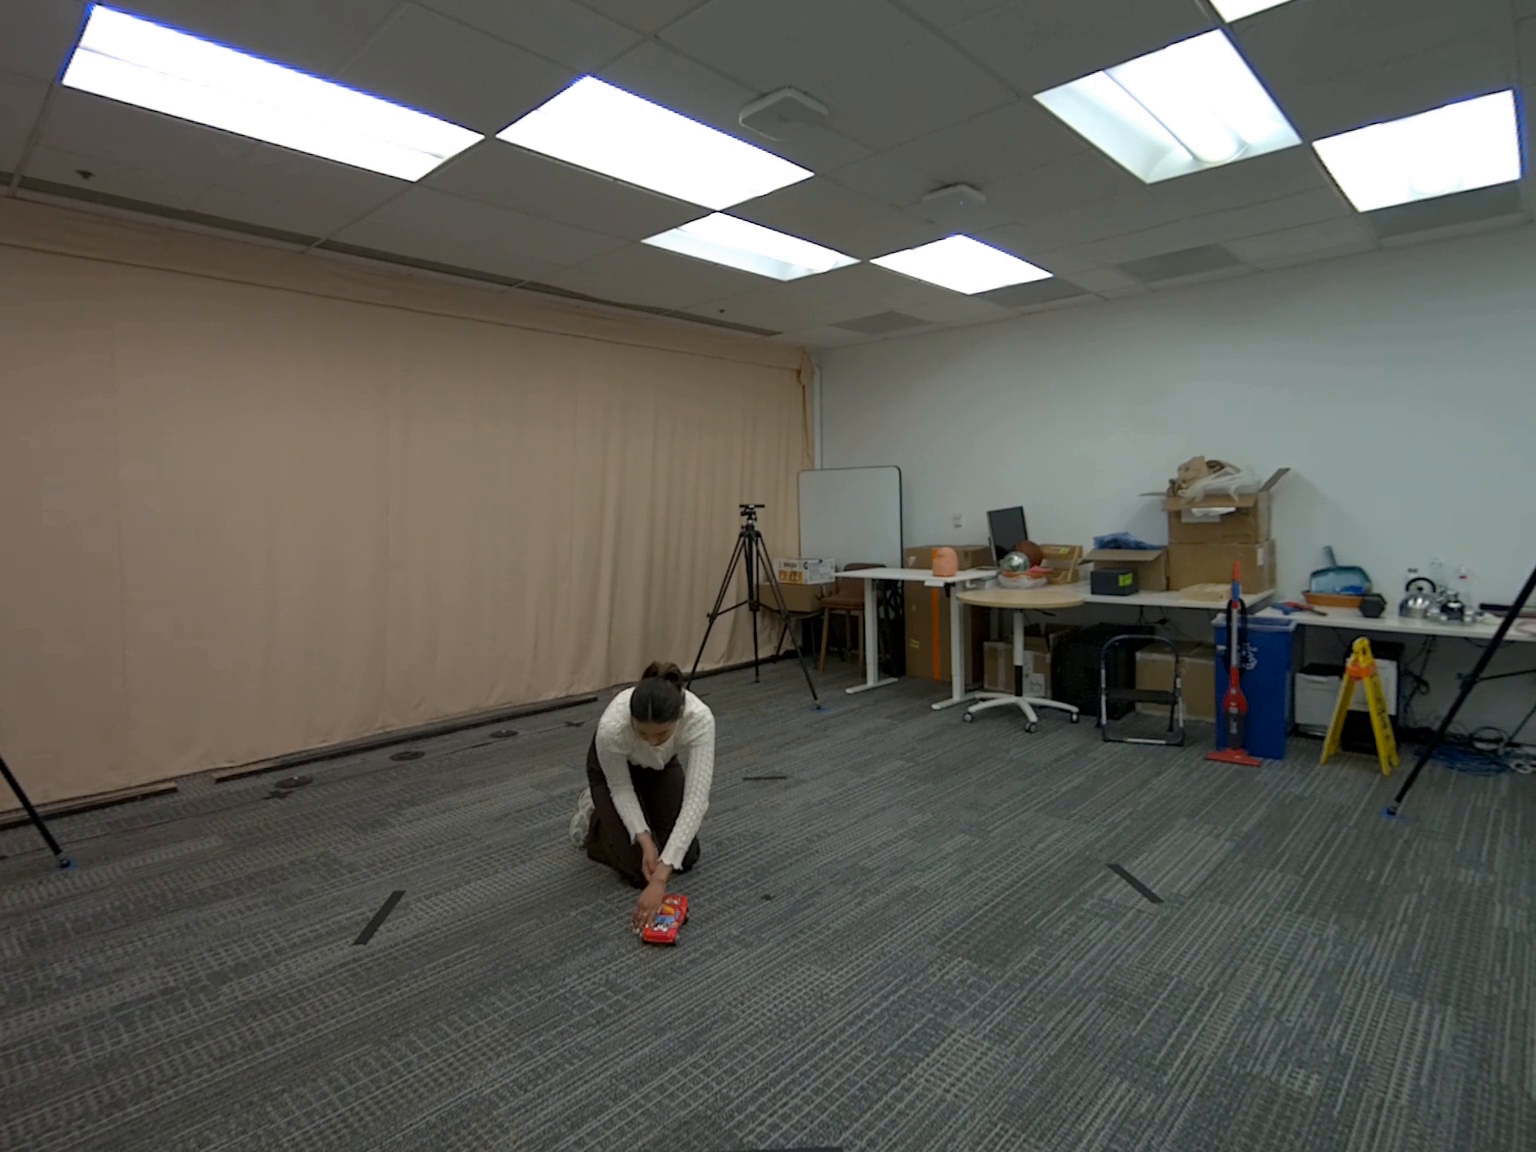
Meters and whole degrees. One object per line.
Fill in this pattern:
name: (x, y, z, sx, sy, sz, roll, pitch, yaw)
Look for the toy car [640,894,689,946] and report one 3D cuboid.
toy car: (-0.331, 1.135, 2.767, 0.132, 0.082, 0.253, 3, 15, 10)
